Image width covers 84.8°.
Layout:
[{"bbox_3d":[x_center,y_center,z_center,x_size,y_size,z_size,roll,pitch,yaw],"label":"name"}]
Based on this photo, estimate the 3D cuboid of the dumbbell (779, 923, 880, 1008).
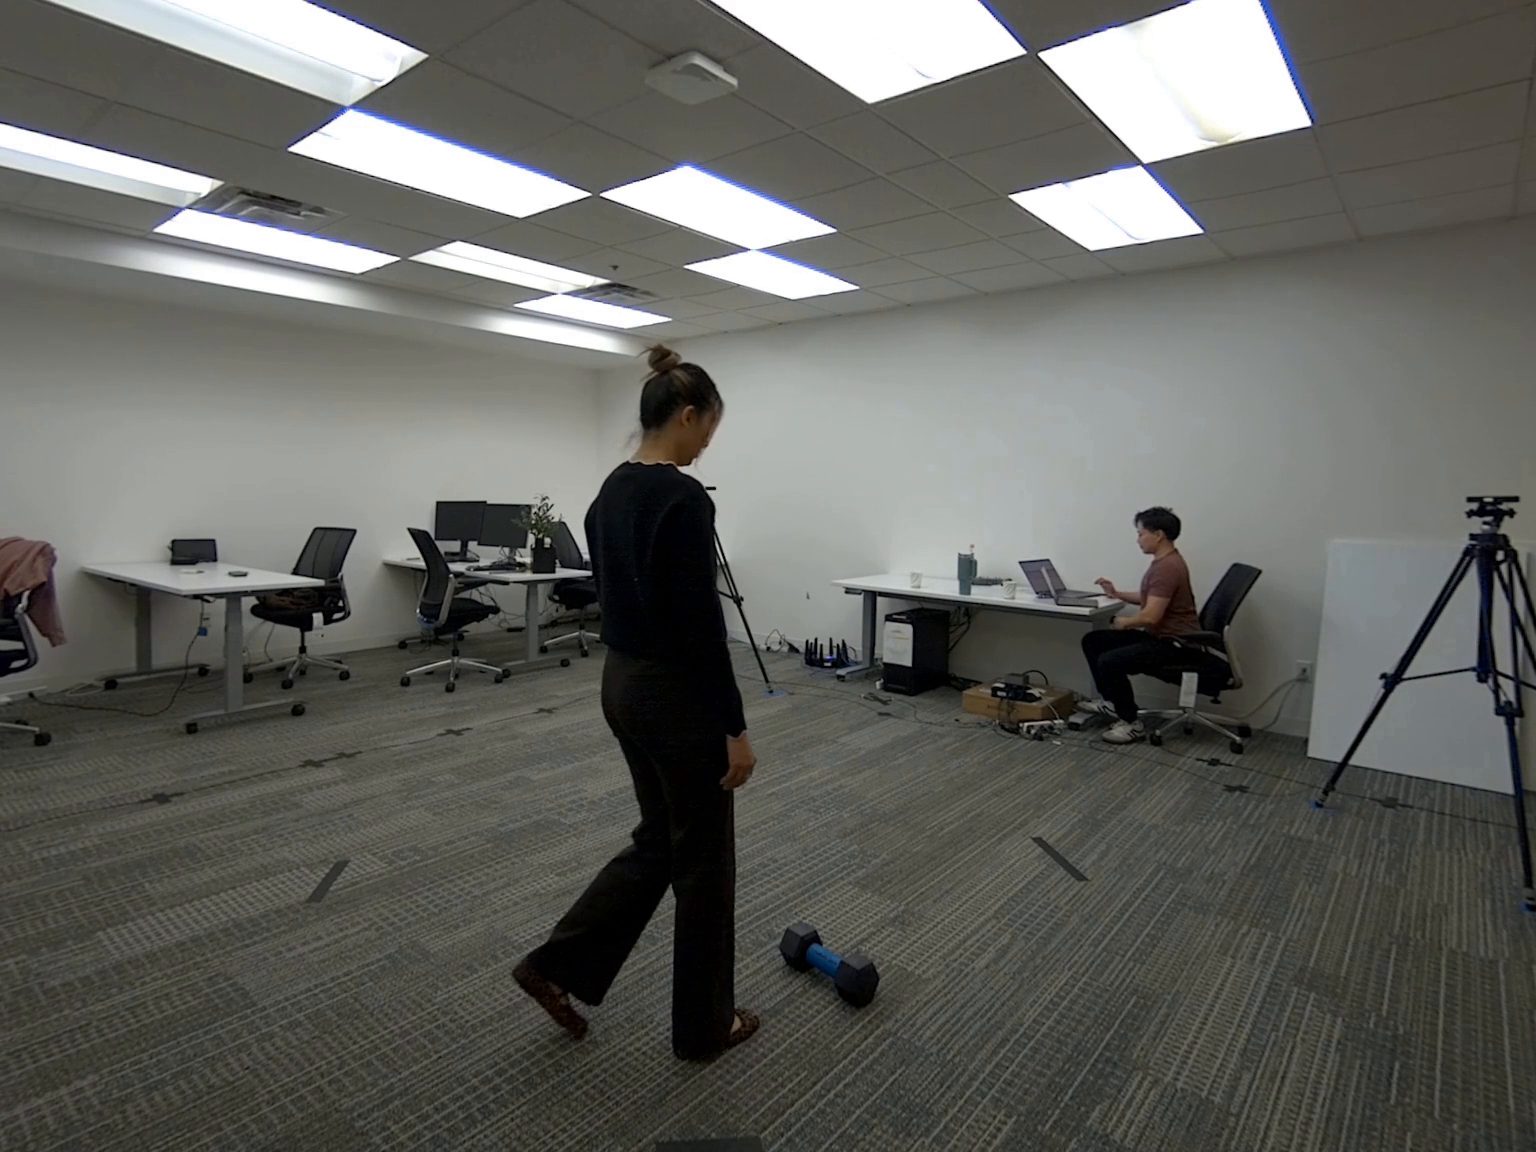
[{"bbox_3d":[0.164,1.087,2.404,0.304,0.119,0.108,7,38,48],"label":"dumbbell"}]
